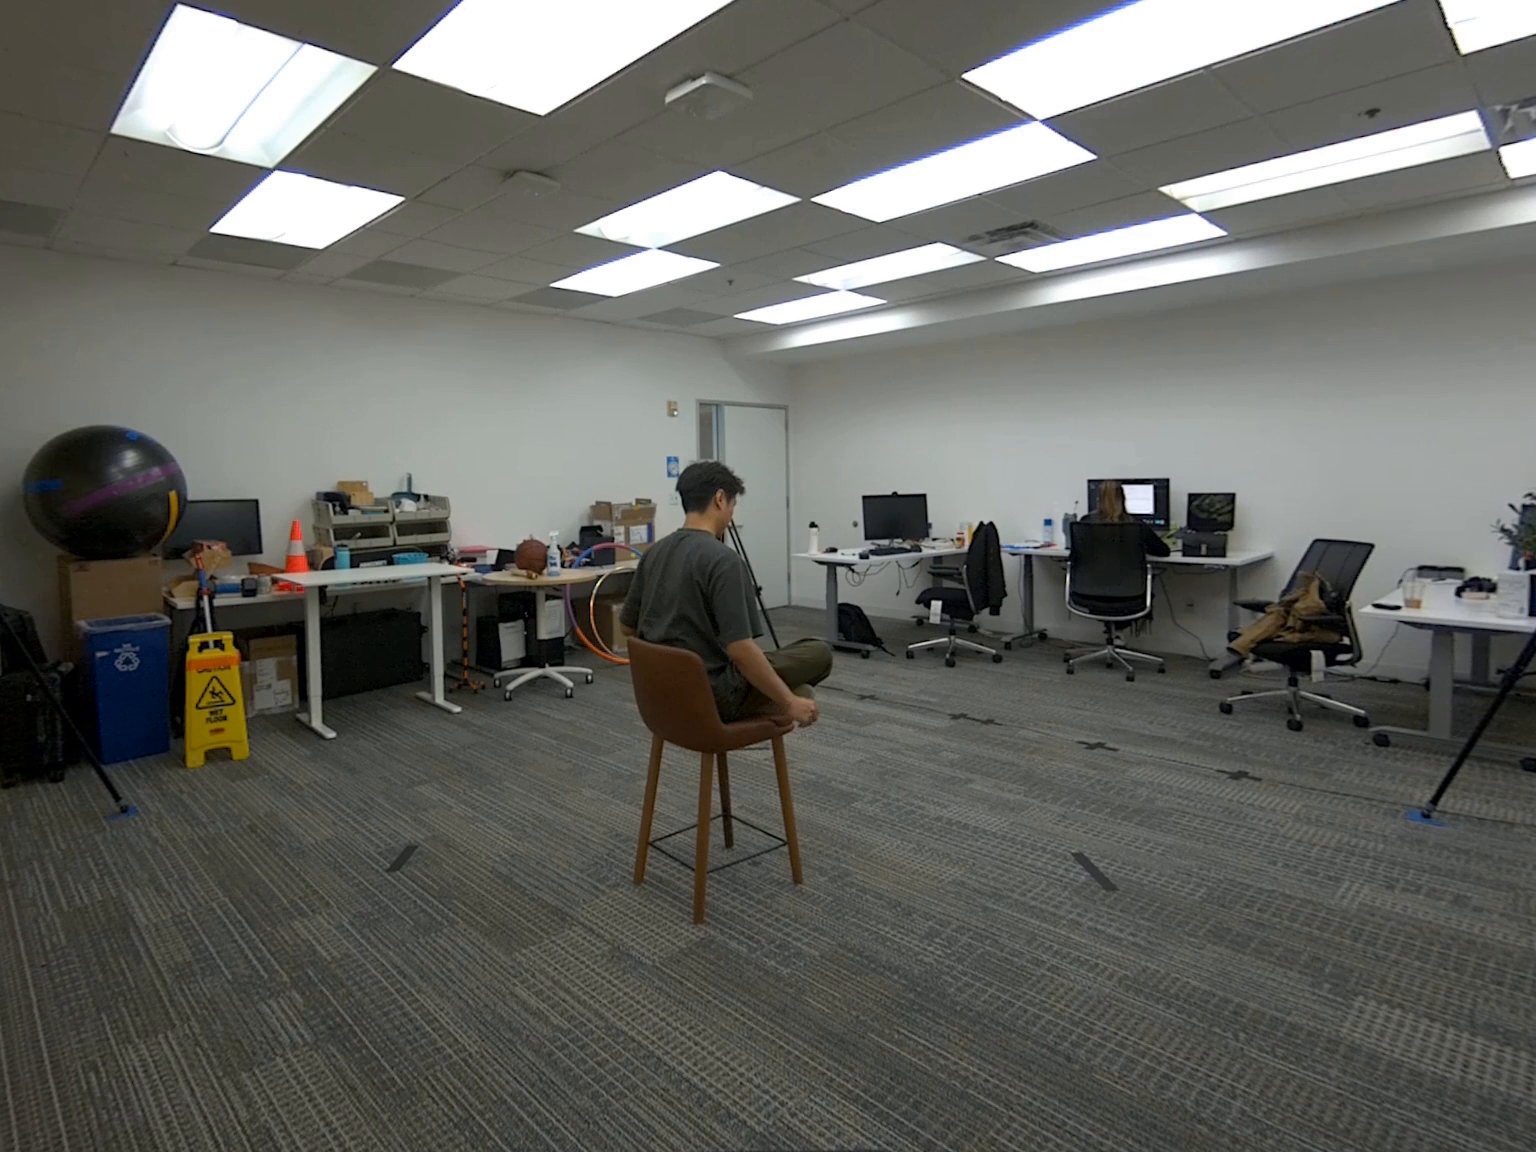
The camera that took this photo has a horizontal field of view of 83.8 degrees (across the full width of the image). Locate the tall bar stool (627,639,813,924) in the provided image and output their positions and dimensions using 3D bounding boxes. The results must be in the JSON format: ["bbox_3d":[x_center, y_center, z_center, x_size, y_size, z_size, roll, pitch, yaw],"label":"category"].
[{"bbox_3d":[-0.192,0.631,2.936,0.456,0.885,0.470,-7,8,-40],"label":"tall bar stool"}]
